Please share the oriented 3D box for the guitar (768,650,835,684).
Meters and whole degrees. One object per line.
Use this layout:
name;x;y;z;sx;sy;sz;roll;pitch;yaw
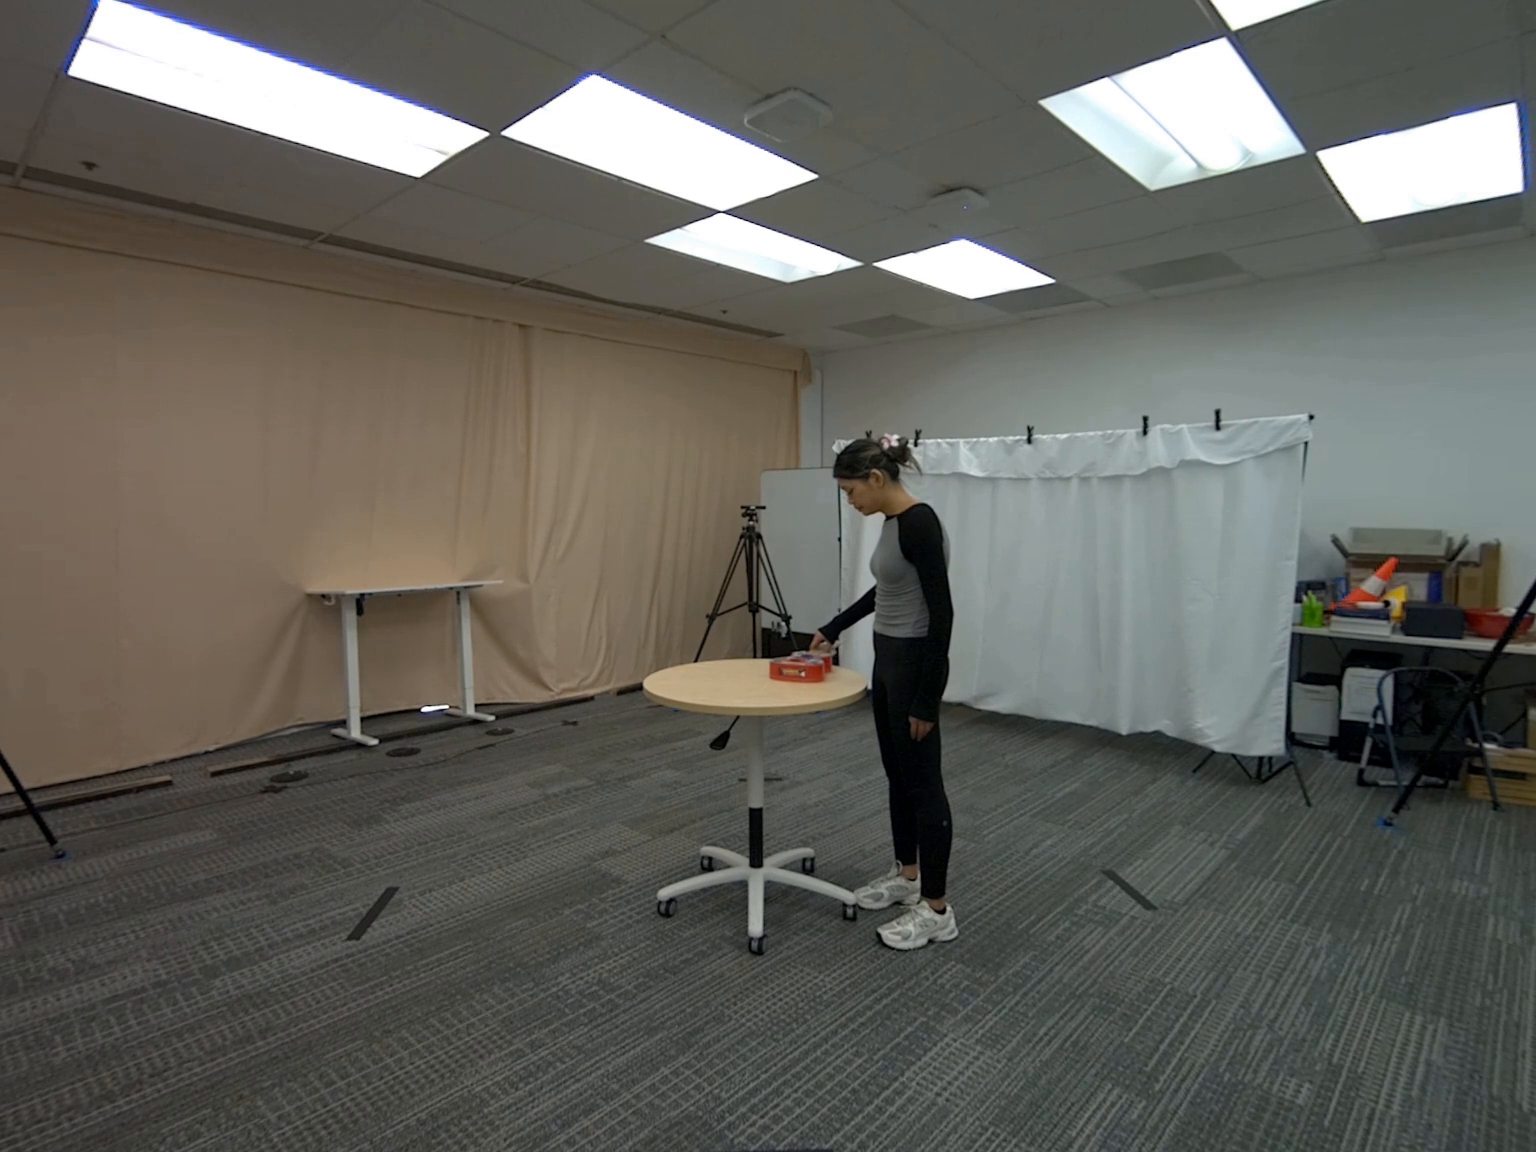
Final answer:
guitar;0.199;0.307;3.059;0.198;0.070;0.485;3;6;29
